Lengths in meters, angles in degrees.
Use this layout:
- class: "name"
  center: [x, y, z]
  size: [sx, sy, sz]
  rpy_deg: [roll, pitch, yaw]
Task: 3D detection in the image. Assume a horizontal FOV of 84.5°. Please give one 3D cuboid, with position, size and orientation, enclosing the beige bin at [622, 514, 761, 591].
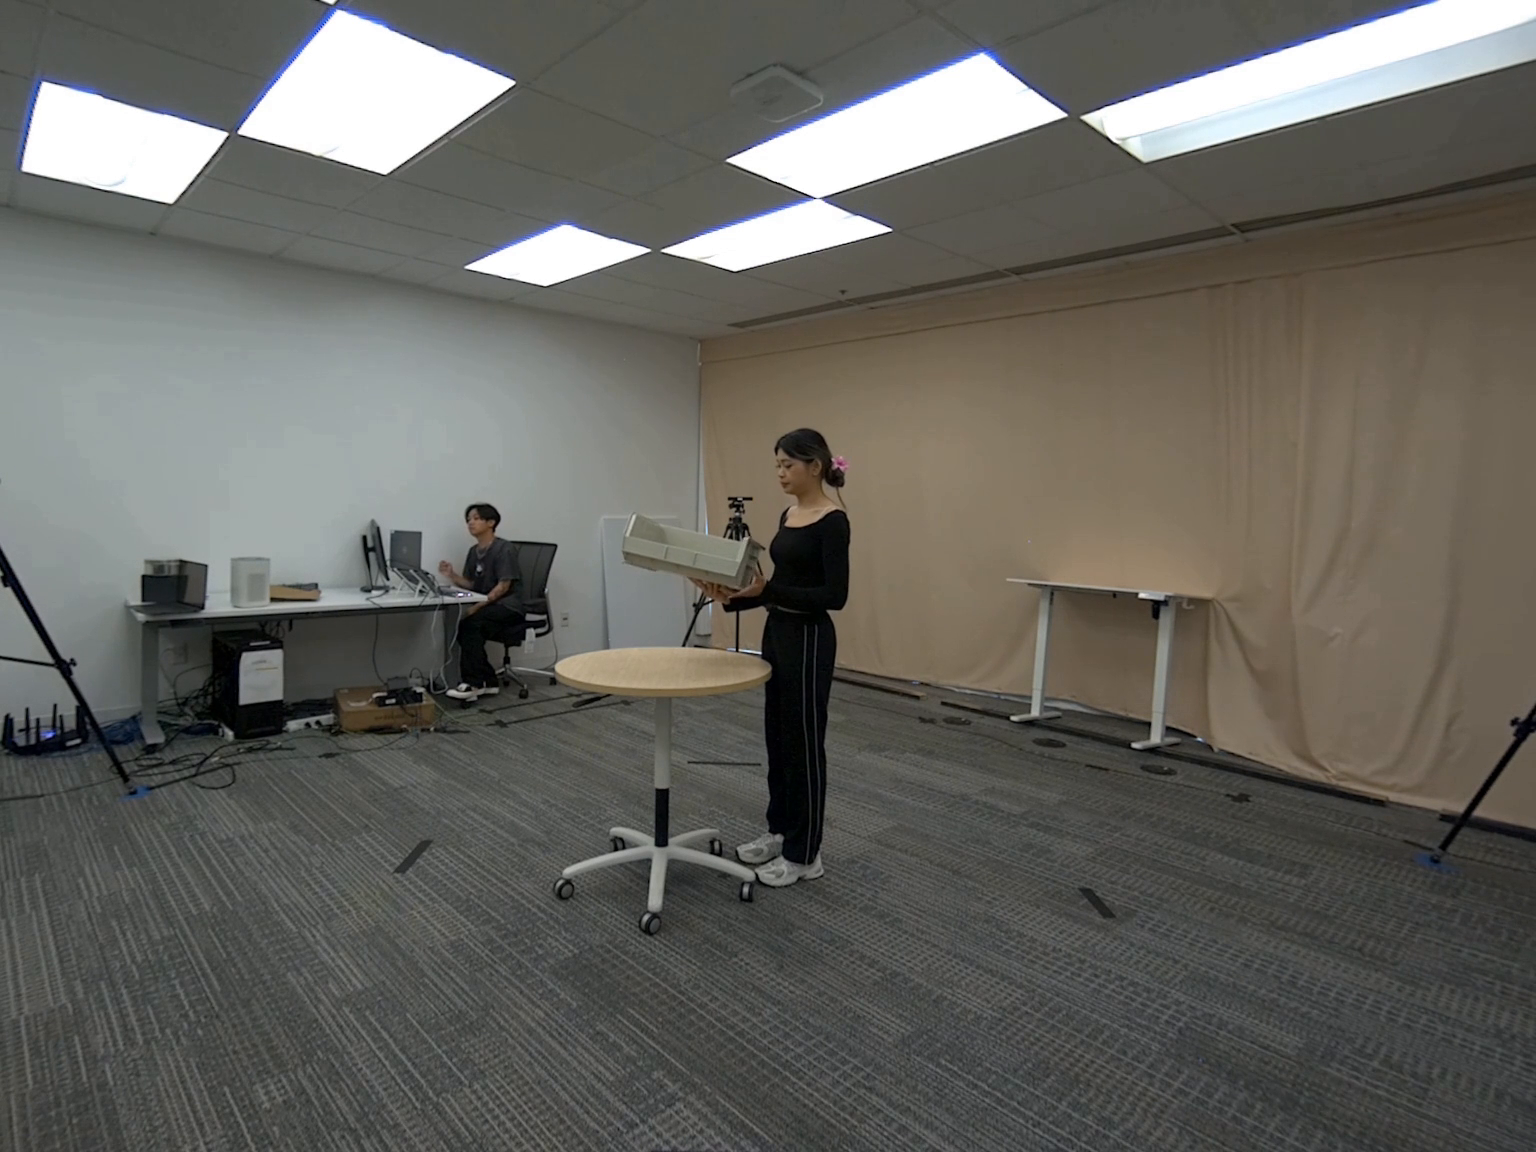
- class: "beige bin"
  center: [-0.267, -0.068, 2.970]
  size: [0.427, 0.189, 0.372]
  rpy_deg: [14, -4, 10]
